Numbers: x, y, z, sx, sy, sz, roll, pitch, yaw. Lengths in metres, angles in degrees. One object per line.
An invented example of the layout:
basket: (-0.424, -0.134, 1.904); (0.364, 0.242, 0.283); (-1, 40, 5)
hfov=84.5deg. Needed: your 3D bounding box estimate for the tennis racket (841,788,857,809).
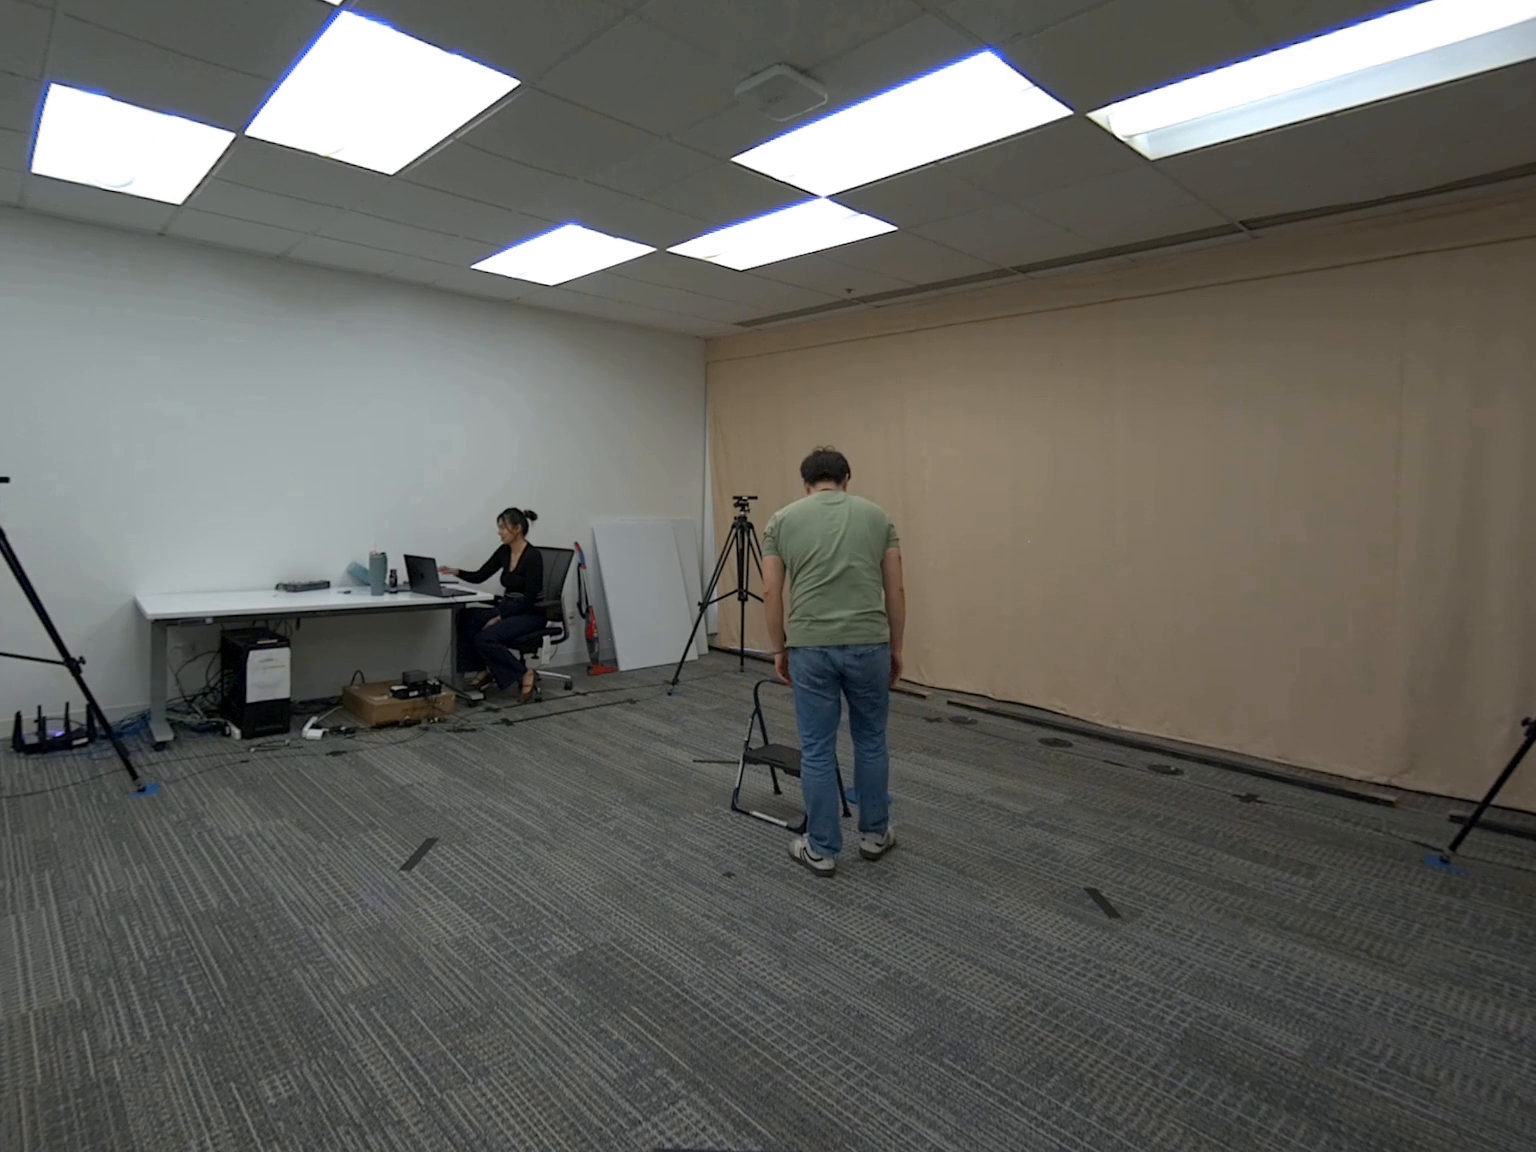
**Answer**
tennis racket: (0.466, 1.041, 3.881); (0.212, 0.032, 0.436); (0, 3, -8)
